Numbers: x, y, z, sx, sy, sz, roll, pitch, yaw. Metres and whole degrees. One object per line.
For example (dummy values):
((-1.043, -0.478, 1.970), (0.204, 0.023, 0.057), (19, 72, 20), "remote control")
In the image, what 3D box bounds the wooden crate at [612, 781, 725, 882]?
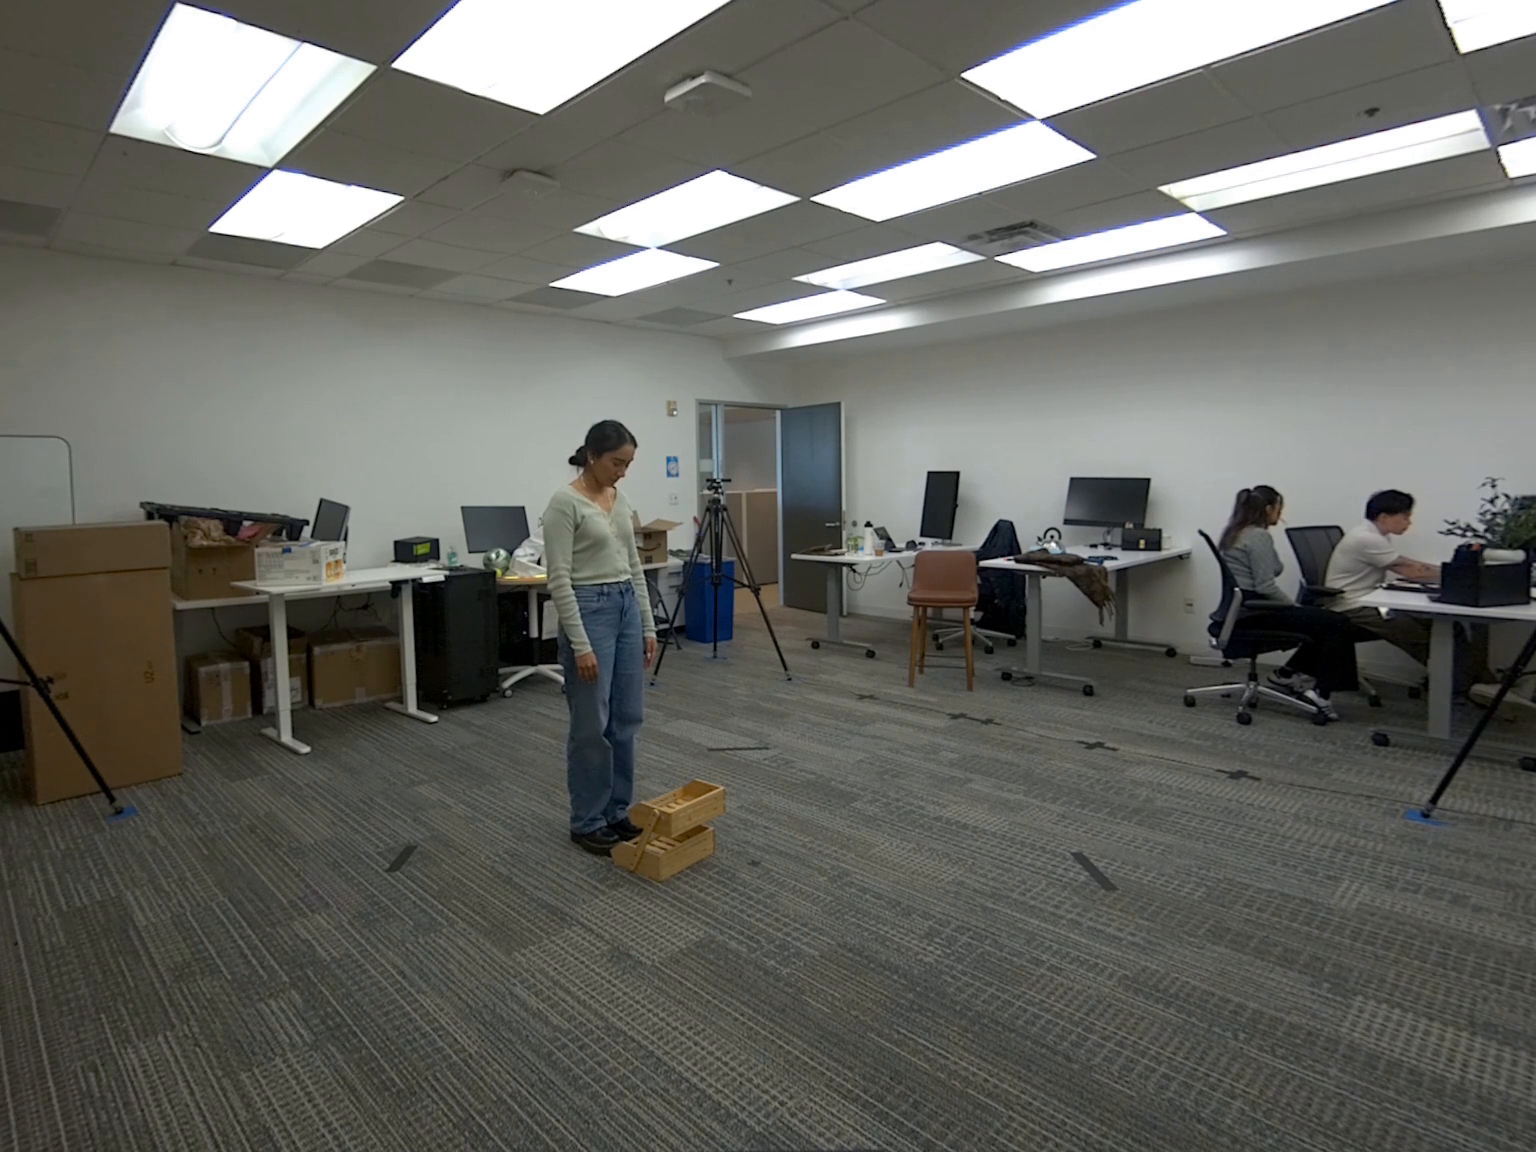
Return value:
((-0.365, 0.913, 3.138), (0.311, 0.272, 0.316), (4, 7, 37), "wooden crate")
